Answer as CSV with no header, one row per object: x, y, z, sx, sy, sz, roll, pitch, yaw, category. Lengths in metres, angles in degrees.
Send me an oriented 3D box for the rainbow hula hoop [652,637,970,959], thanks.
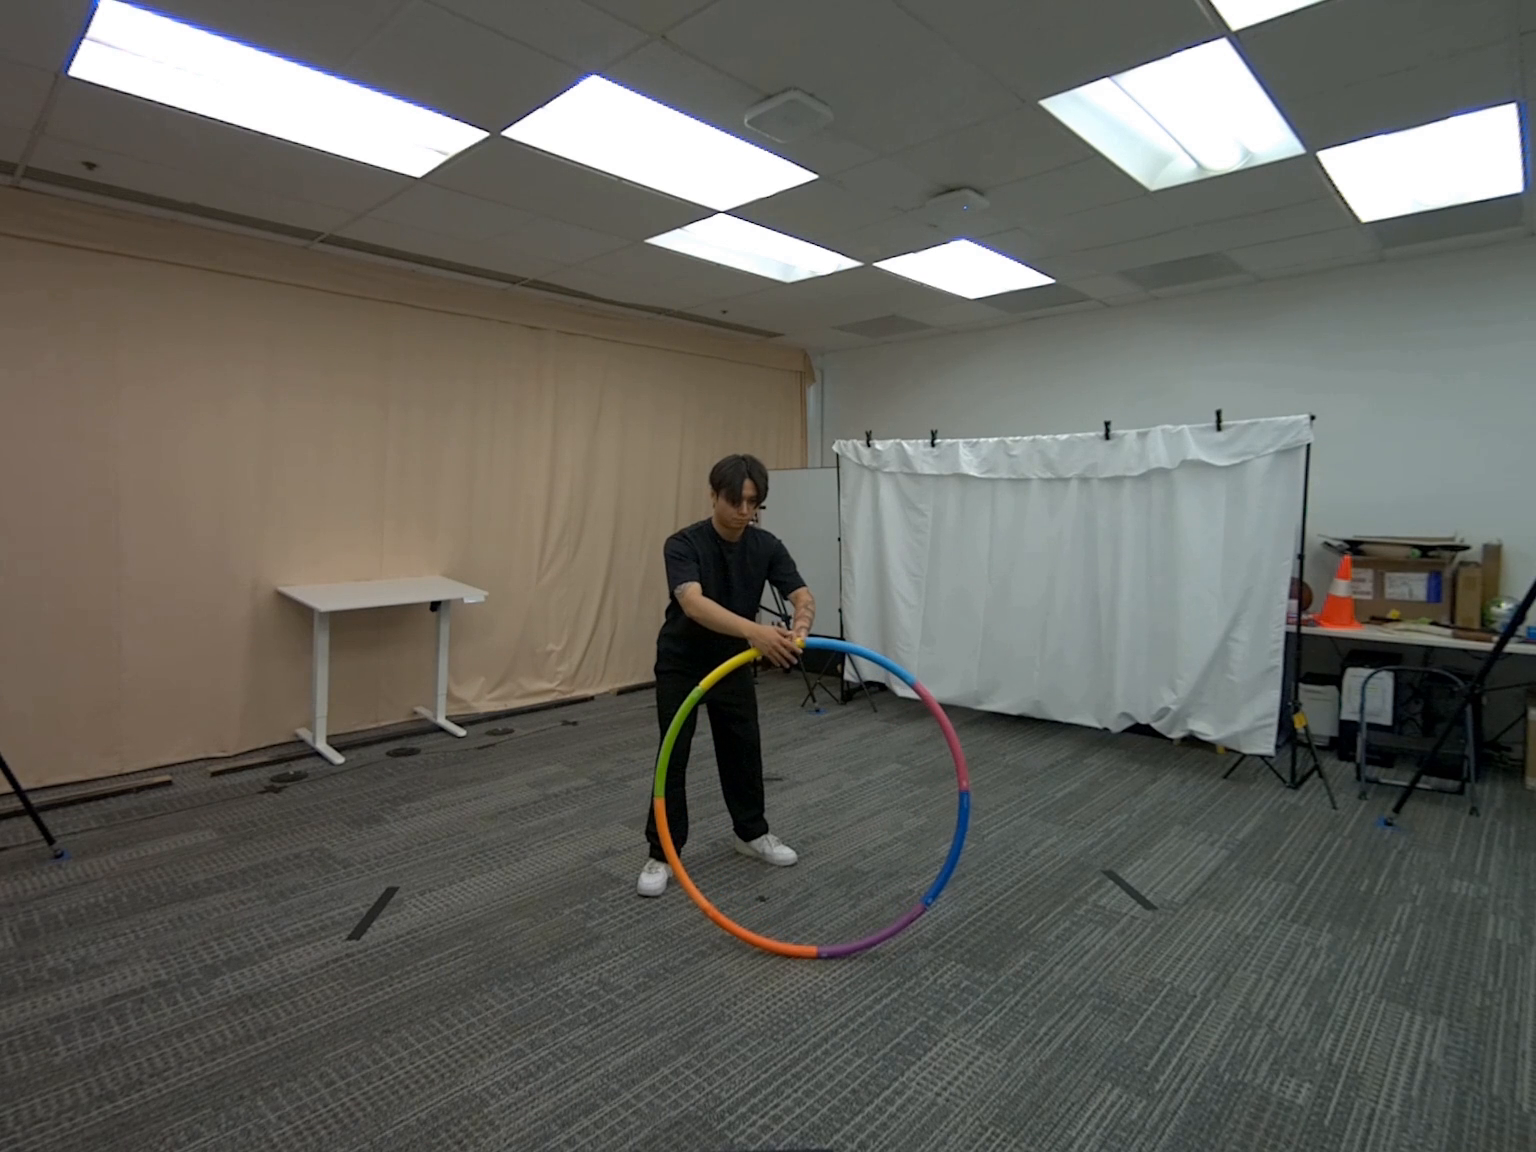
0.139,0.695,2.653,0.982,0.983,0.035,0,-7,3,rainbow hula hoop
